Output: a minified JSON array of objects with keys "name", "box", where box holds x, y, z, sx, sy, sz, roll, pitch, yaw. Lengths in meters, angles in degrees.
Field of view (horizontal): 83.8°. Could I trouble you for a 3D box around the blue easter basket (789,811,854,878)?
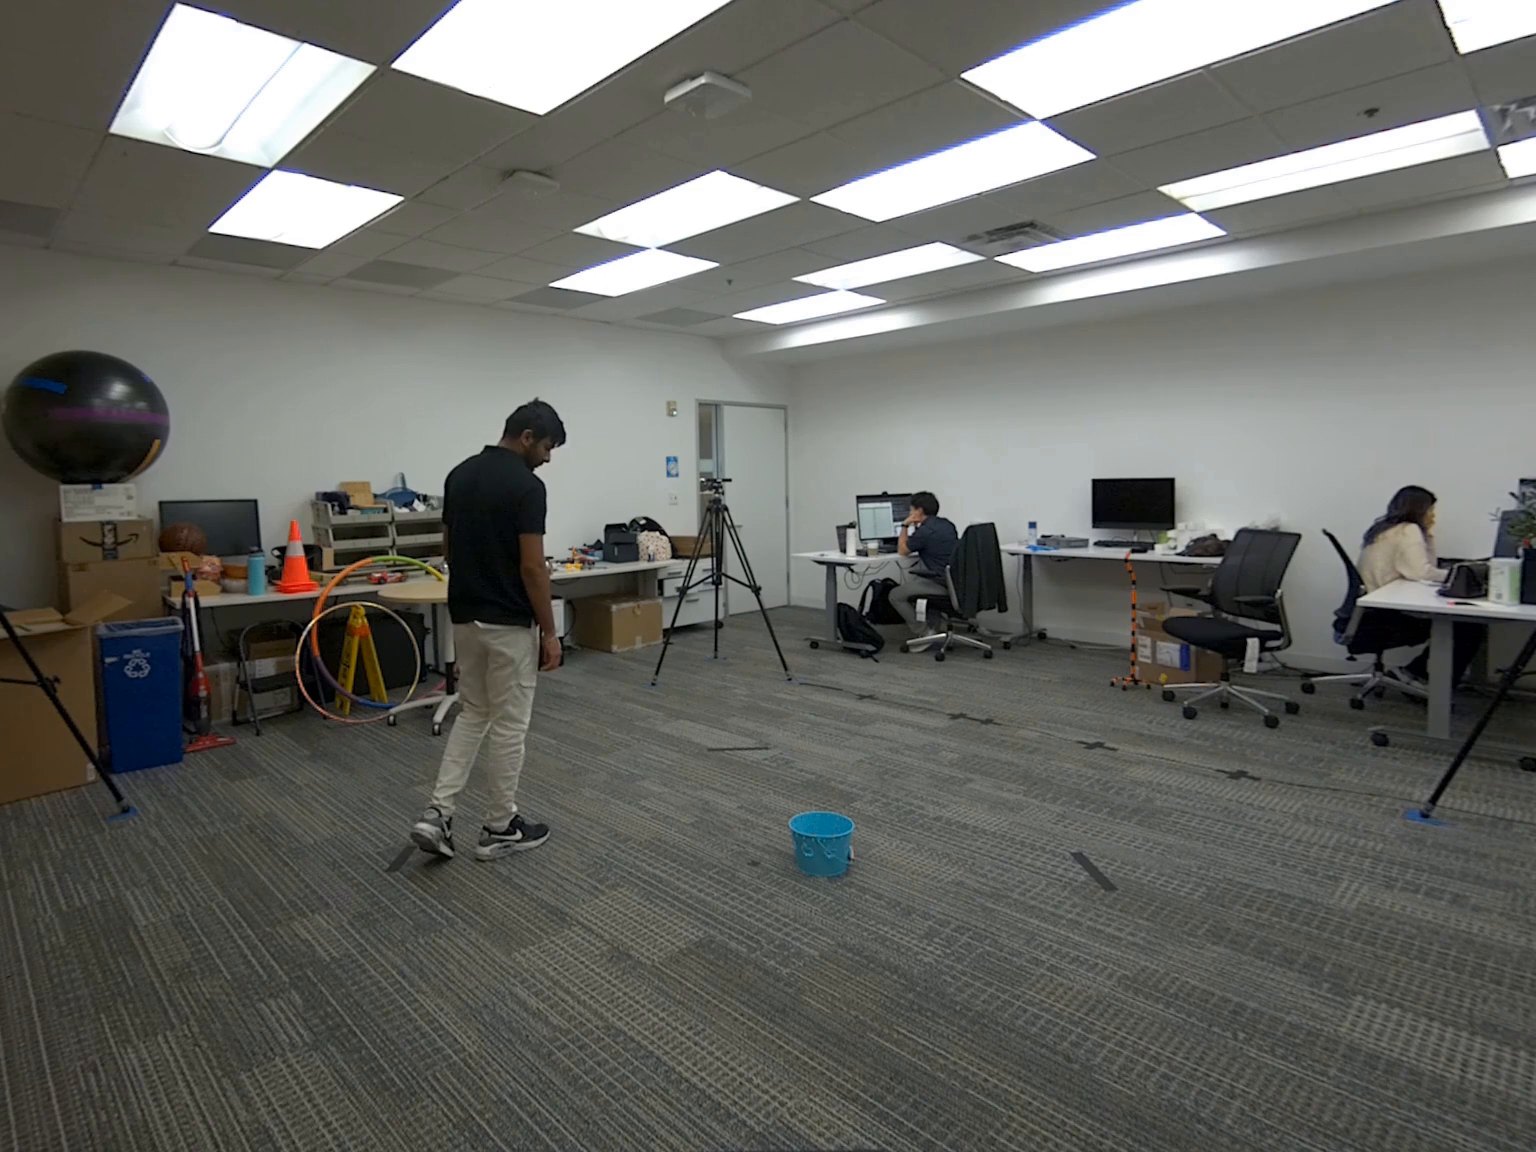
[{"name":"blue easter basket","box":[0.198,0.963,3.072,0.243,0.155,0.245,-1,6,-2]}]
